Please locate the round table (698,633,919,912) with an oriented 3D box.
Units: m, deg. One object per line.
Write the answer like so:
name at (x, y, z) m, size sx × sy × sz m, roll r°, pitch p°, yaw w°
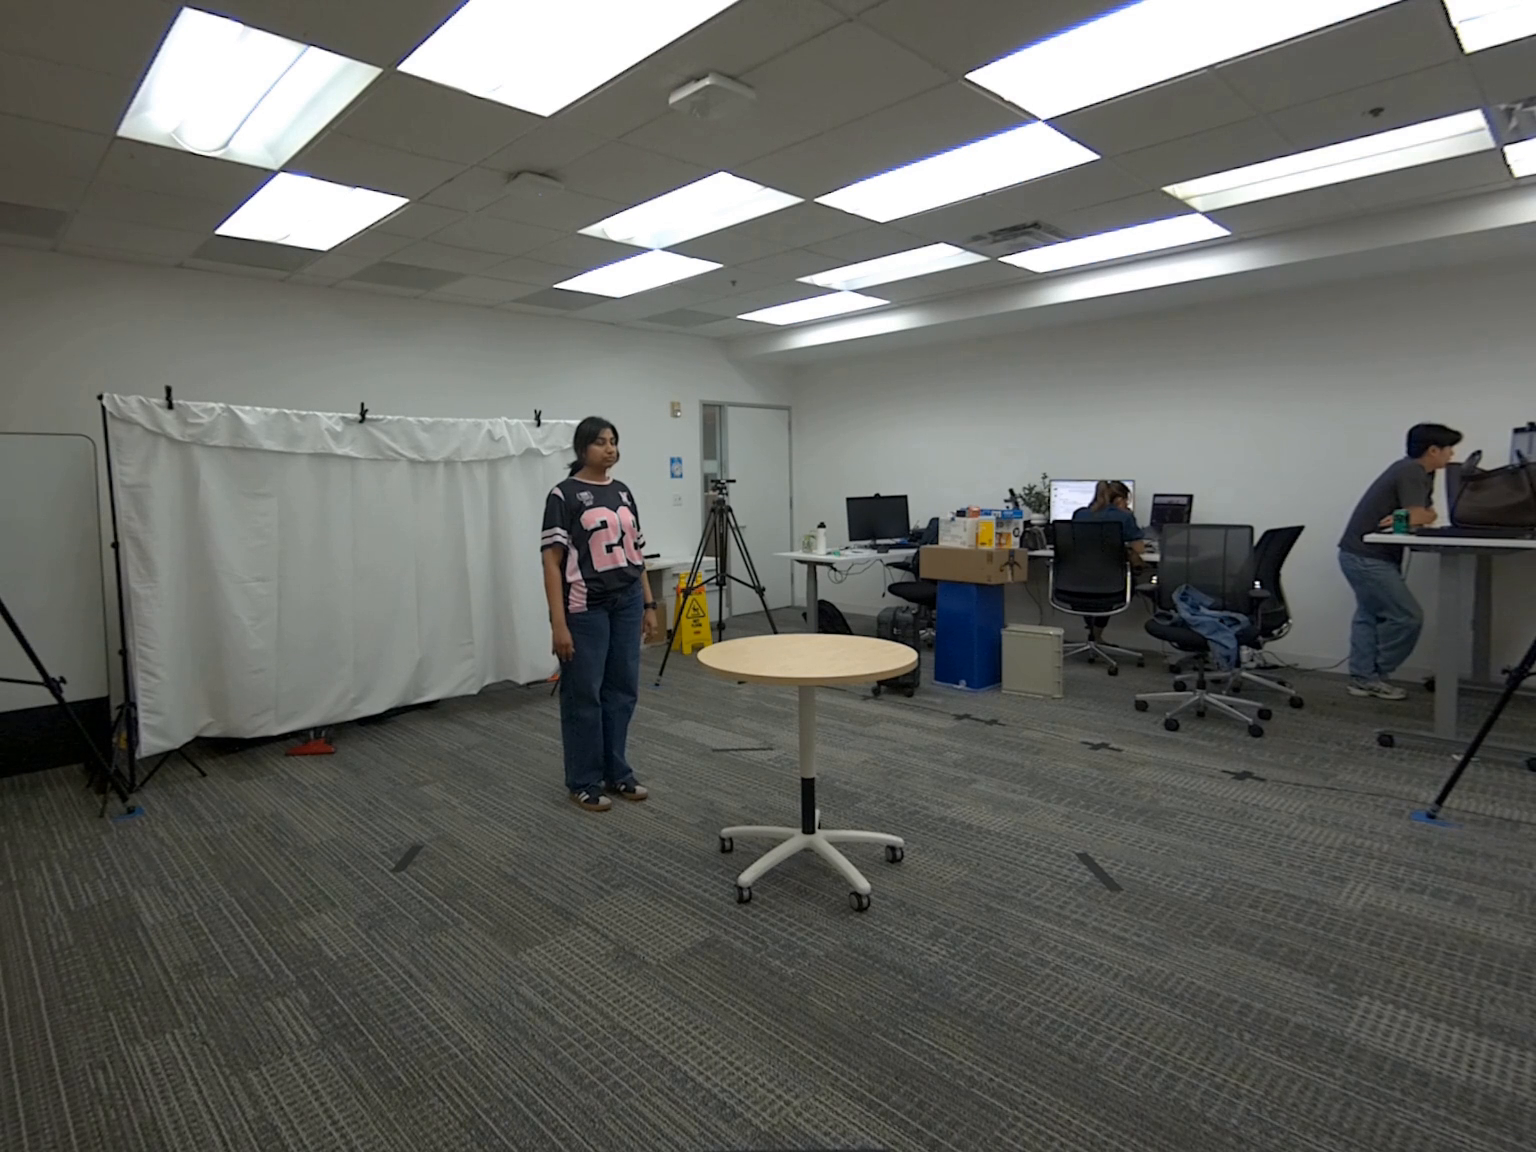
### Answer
round table at (0.144, 0.663, 3.012) m, size 0.784 × 0.784 × 0.789 m, roll -1°, pitch 4°, yaw -2°
